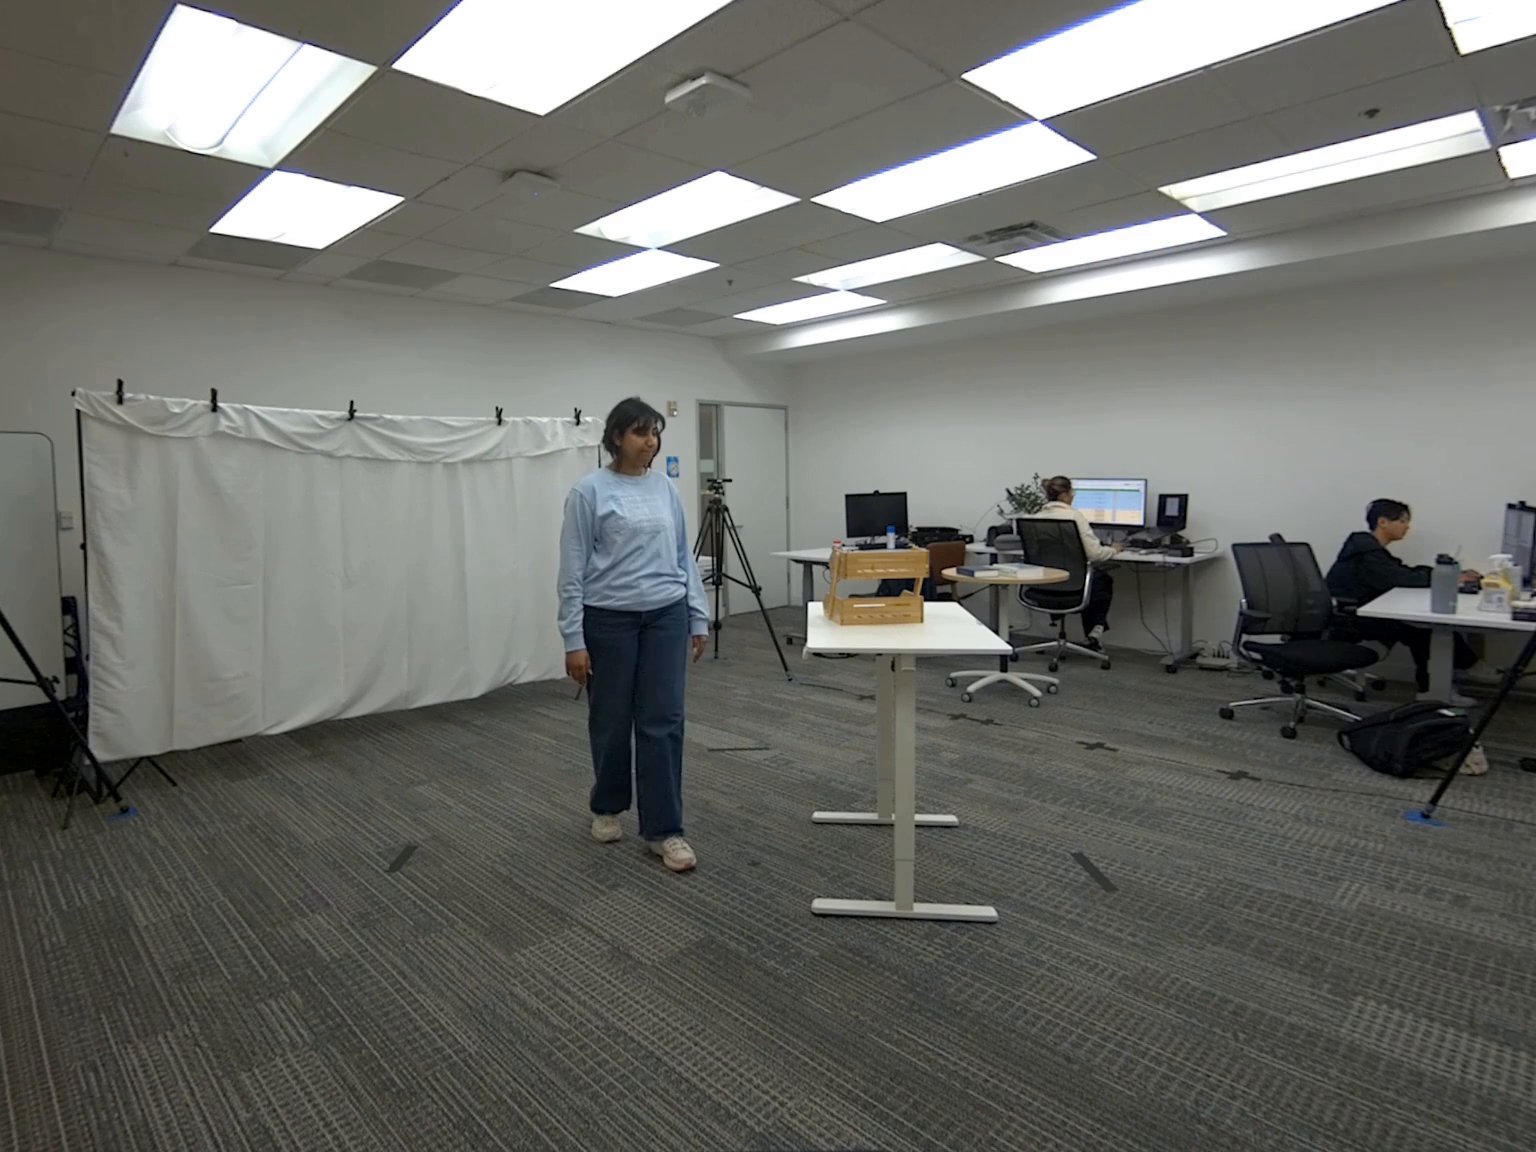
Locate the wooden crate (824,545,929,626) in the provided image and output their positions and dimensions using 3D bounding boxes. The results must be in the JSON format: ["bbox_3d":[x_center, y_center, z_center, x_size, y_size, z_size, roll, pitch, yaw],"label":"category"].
[{"bbox_3d":[0.383,0.024,3.073,0.322,0.272,0.306,-1,7,-9],"label":"wooden crate"}]
